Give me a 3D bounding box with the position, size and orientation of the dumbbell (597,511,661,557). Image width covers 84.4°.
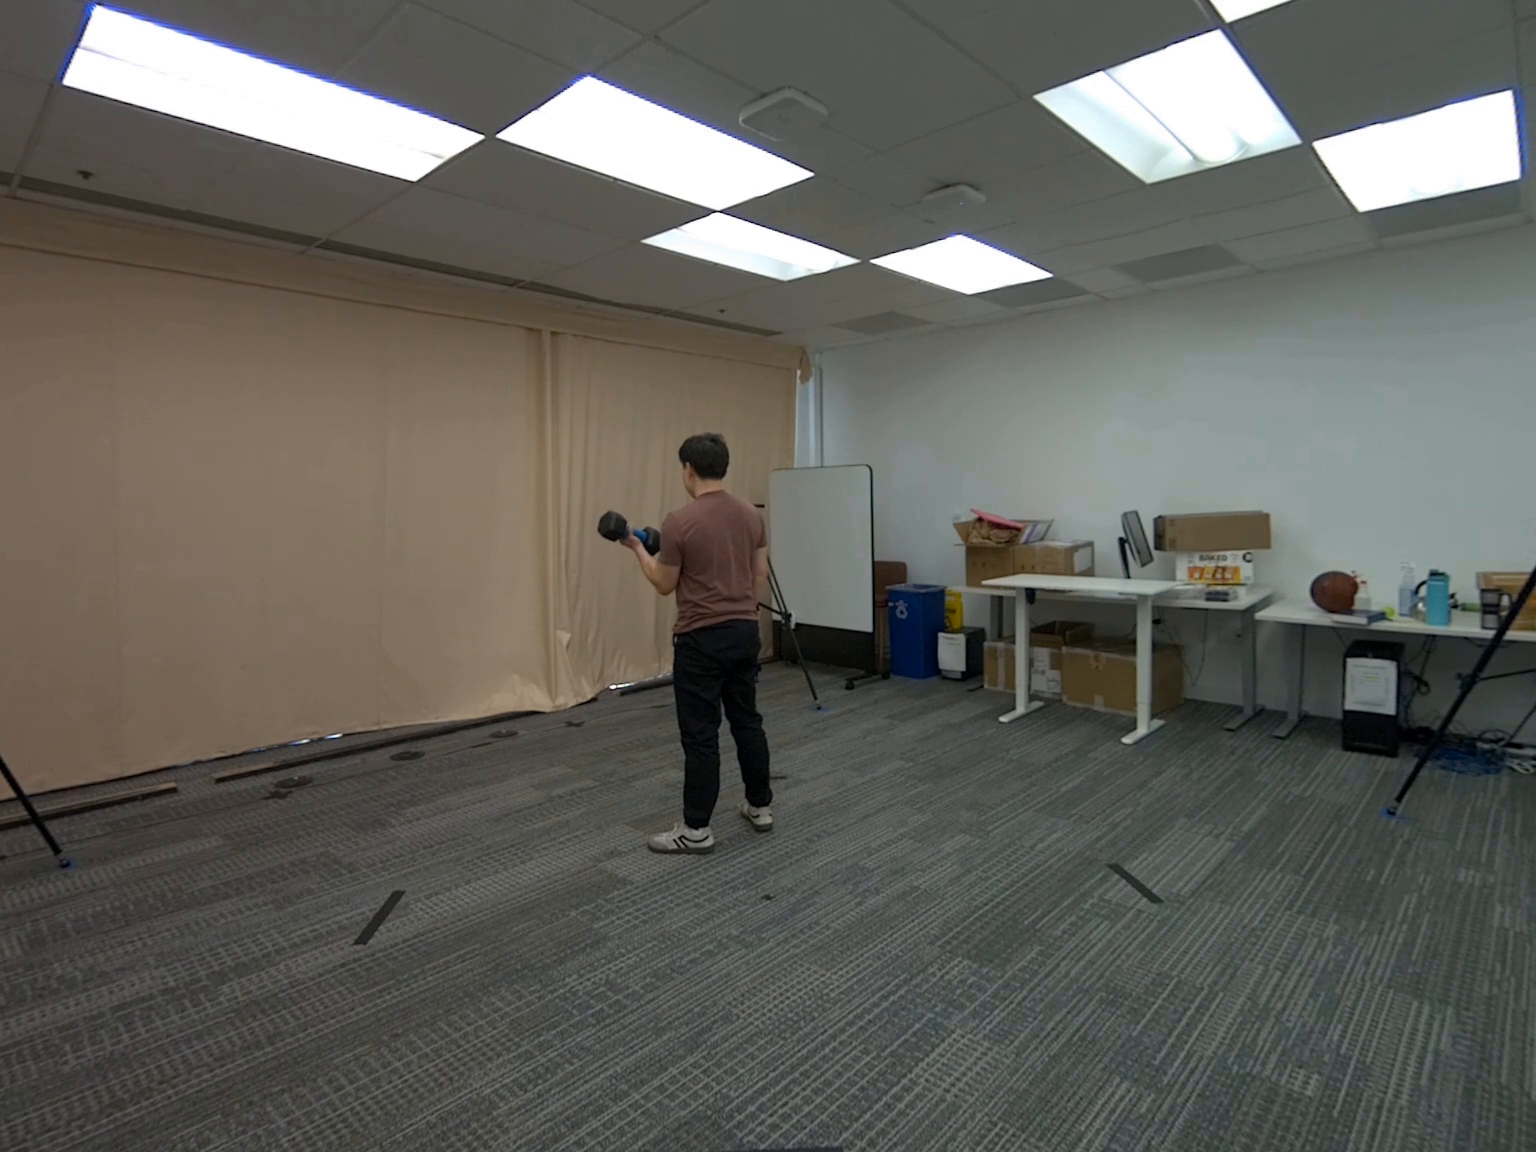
[{"bbox_3d":[-0.578,-0.171,3.588,0.283,0.109,0.127,25,9,-43],"label":"dumbbell"}]
